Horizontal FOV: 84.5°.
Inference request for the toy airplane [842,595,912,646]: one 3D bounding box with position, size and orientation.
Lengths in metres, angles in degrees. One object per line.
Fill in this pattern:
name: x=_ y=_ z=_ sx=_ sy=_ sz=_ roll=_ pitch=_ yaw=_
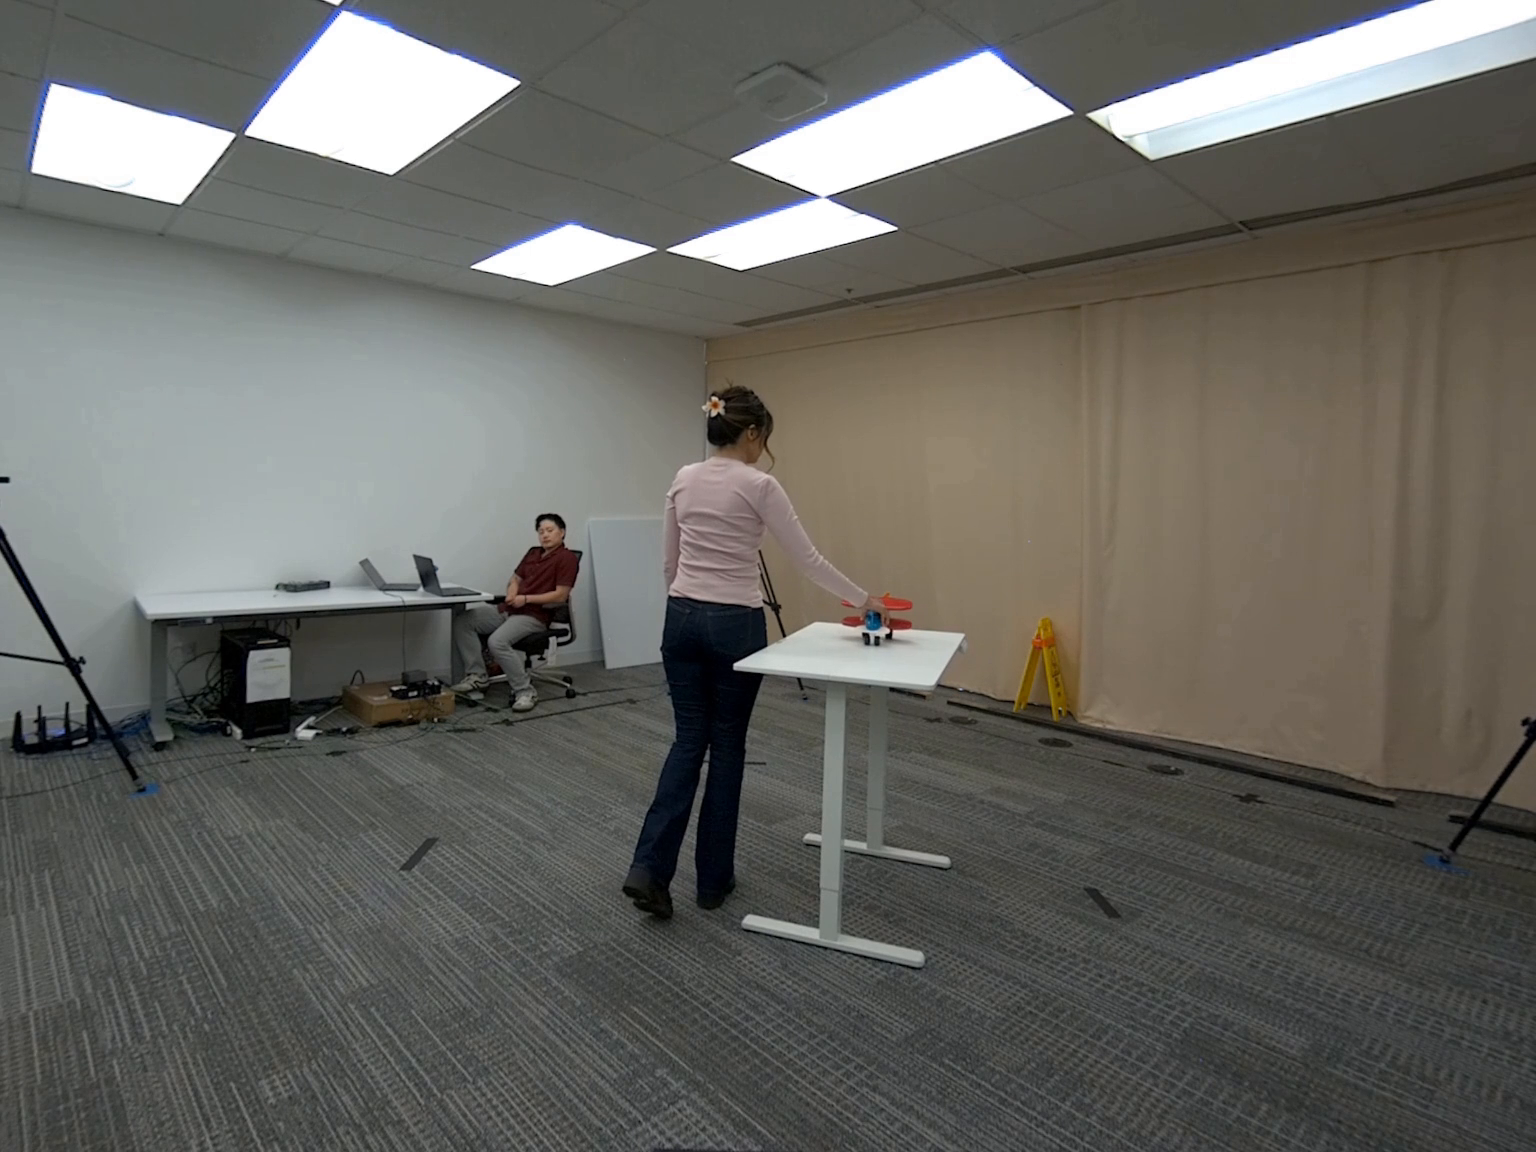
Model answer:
toy airplane: x=0.406 y=0.161 z=3.065 sx=0.248 sy=0.156 sz=0.263 roll=0 pitch=4 yaw=-17
